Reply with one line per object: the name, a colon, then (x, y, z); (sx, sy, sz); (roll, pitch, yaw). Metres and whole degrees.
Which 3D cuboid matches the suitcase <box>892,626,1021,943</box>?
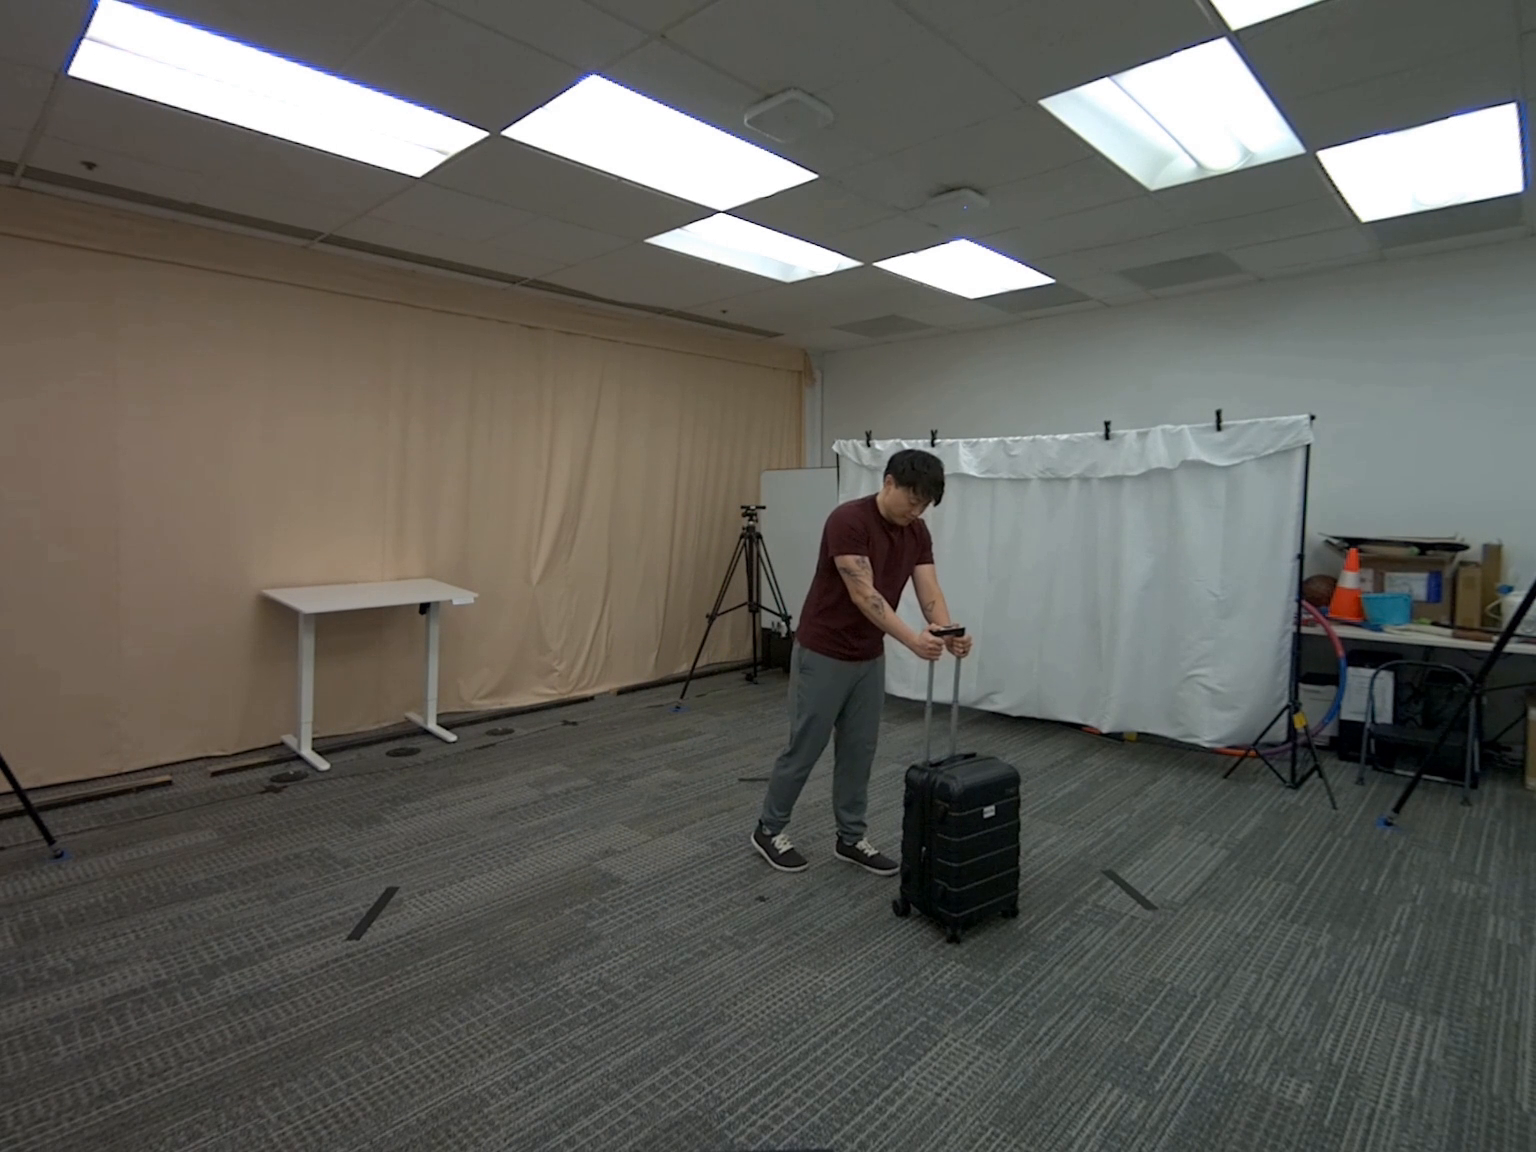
suitcase: (0.664, 0.685, 2.800); (0.373, 0.974, 0.265); (-2, 8, -33)
